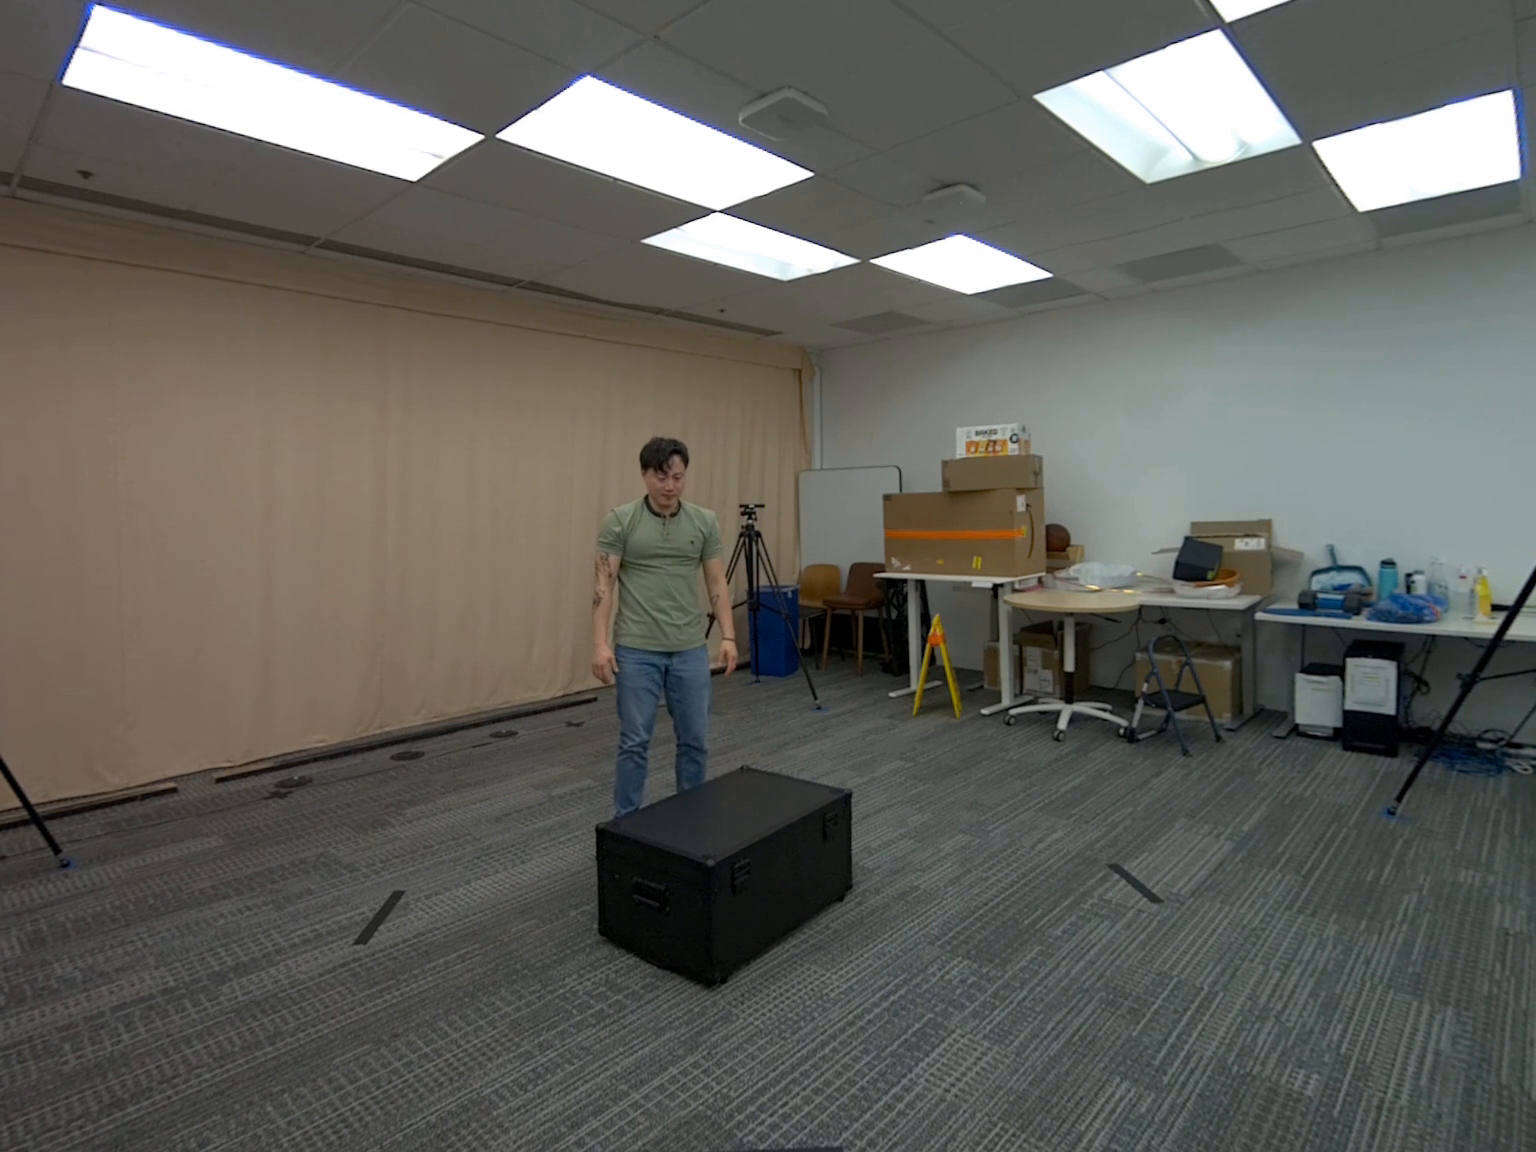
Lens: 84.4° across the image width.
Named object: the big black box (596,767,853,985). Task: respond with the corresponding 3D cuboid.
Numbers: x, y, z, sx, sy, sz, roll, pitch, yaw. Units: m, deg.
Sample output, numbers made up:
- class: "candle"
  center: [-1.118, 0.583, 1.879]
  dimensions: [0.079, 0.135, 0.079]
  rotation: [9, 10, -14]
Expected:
- class: "big black box"
  center: [-0.094, 0.963, 2.860]
  dimensions: [0.538, 0.395, 0.837]
  rotation: [2, 6, 37]
